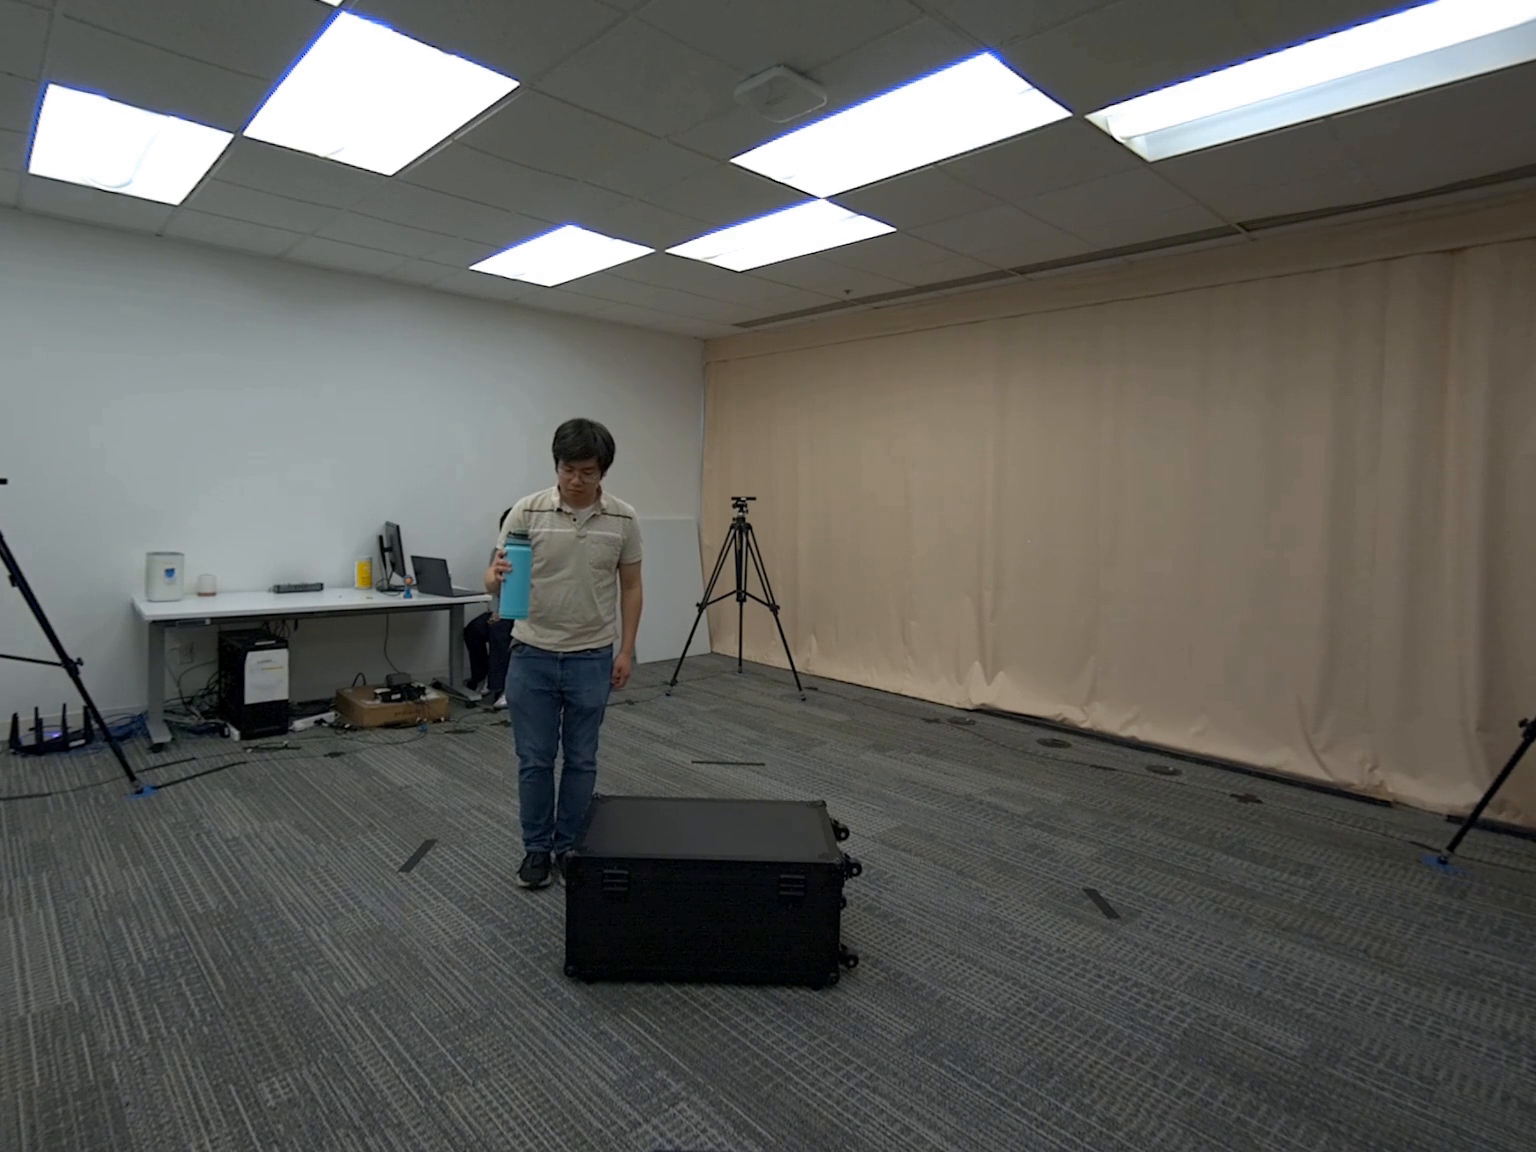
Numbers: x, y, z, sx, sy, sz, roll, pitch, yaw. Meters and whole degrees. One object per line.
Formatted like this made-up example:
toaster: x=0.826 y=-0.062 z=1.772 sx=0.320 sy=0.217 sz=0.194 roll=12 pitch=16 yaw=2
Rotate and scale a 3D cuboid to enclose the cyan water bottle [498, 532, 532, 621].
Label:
cyan water bottle: x=-0.814 y=-0.007 z=2.651 sx=0.092 sy=0.284 sz=0.092 roll=3 pitch=-1 yaw=-1
